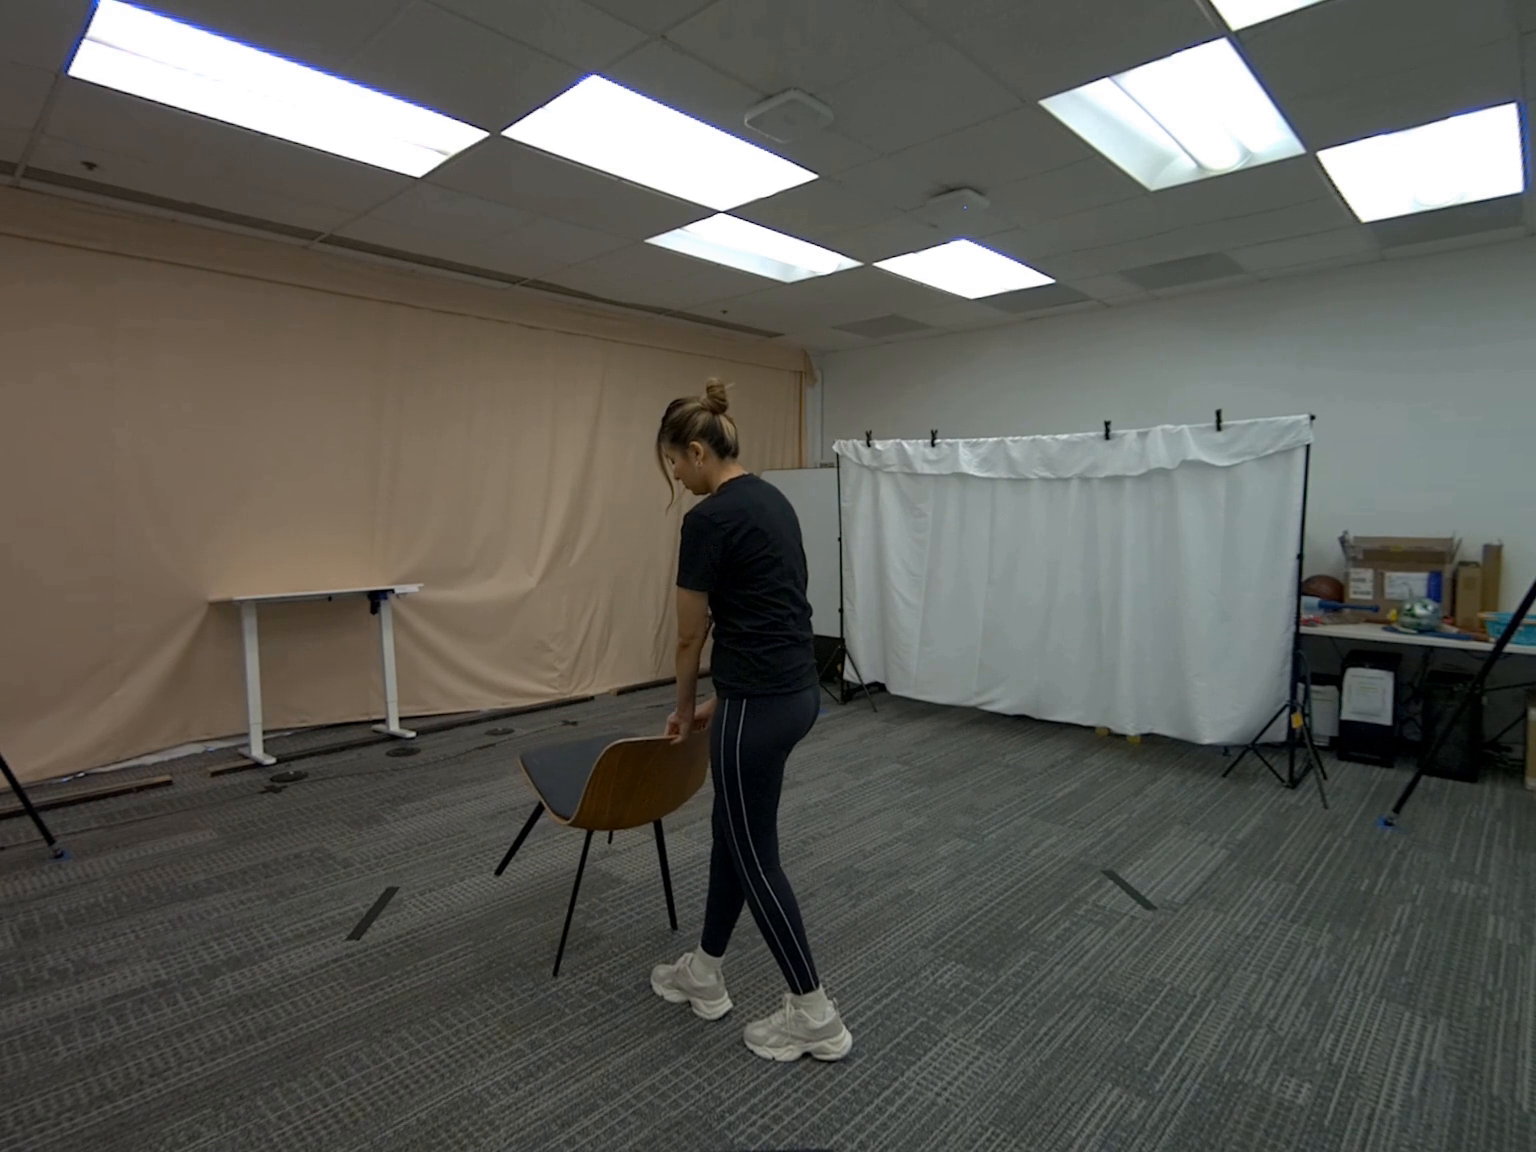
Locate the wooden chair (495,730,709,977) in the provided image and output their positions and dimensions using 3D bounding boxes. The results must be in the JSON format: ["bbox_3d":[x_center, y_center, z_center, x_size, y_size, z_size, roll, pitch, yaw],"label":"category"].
[{"bbox_3d":[-0.504,0.689,2.653,0.463,0.872,0.542,-3,31,-40],"label":"wooden chair"}]
